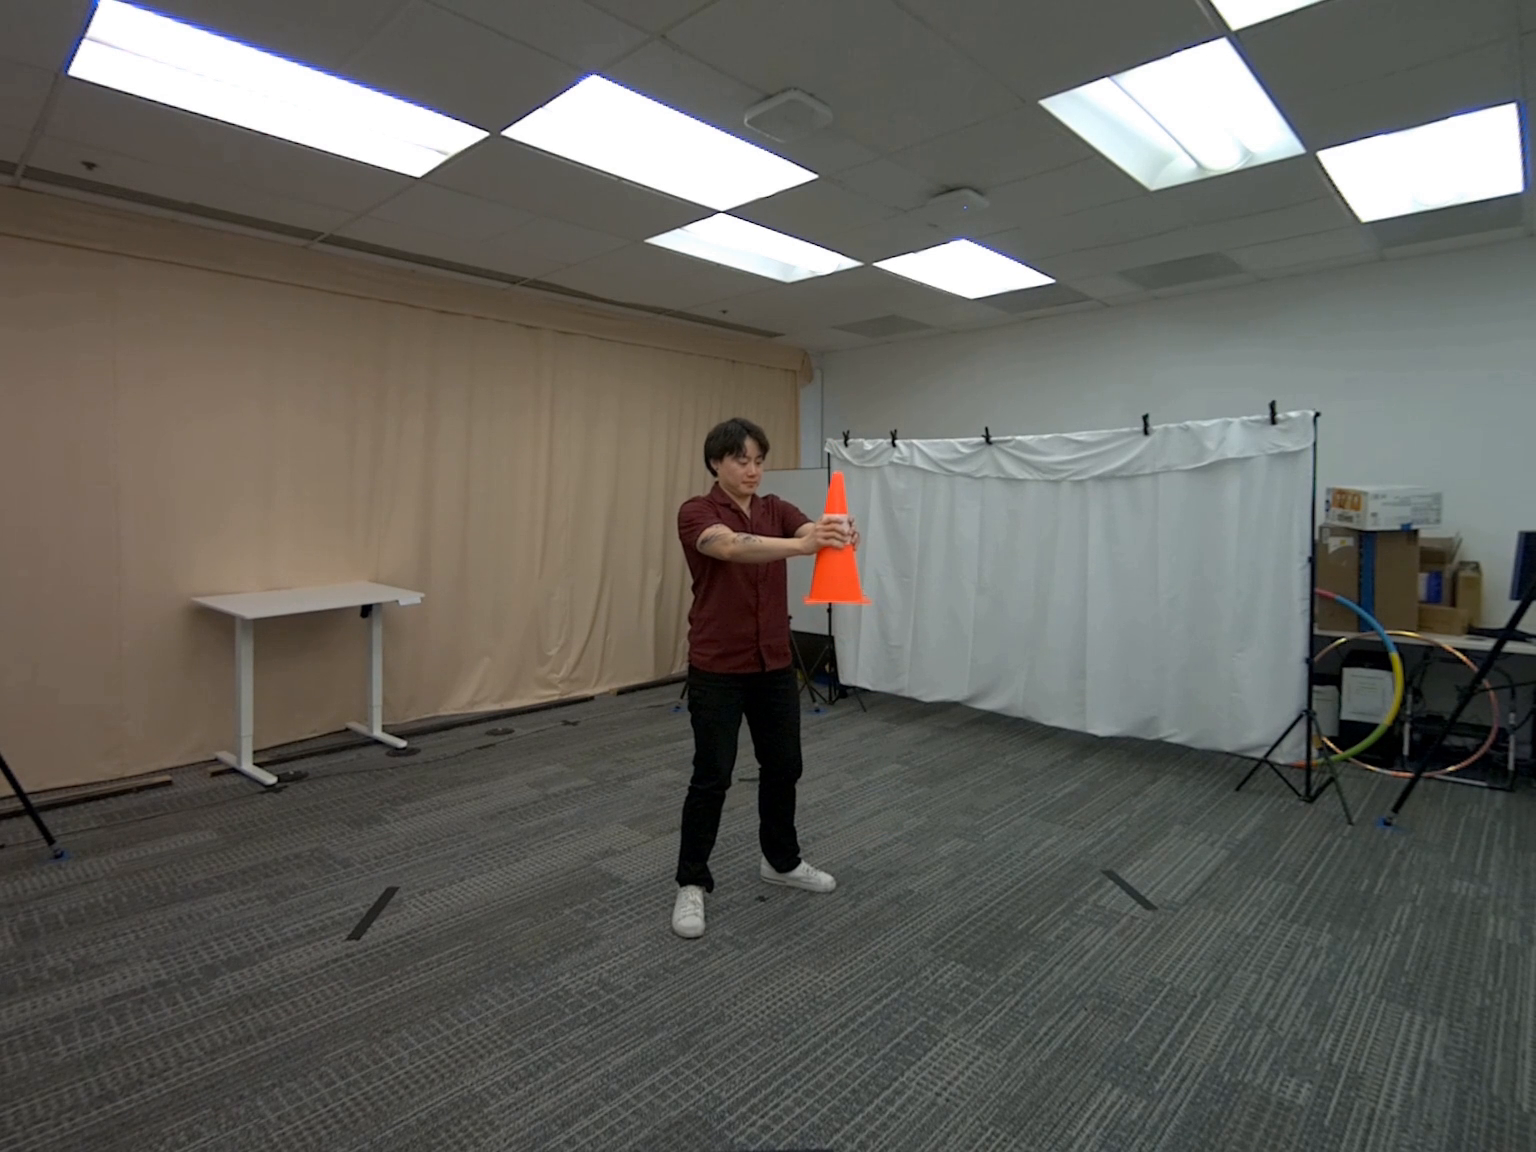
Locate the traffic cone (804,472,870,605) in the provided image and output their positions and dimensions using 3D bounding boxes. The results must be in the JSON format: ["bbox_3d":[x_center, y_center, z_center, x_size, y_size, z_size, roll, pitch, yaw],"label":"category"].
[{"bbox_3d":[0.213,-0.120,2.527,0.210,0.384,0.198,0,0,22],"label":"traffic cone"}]
